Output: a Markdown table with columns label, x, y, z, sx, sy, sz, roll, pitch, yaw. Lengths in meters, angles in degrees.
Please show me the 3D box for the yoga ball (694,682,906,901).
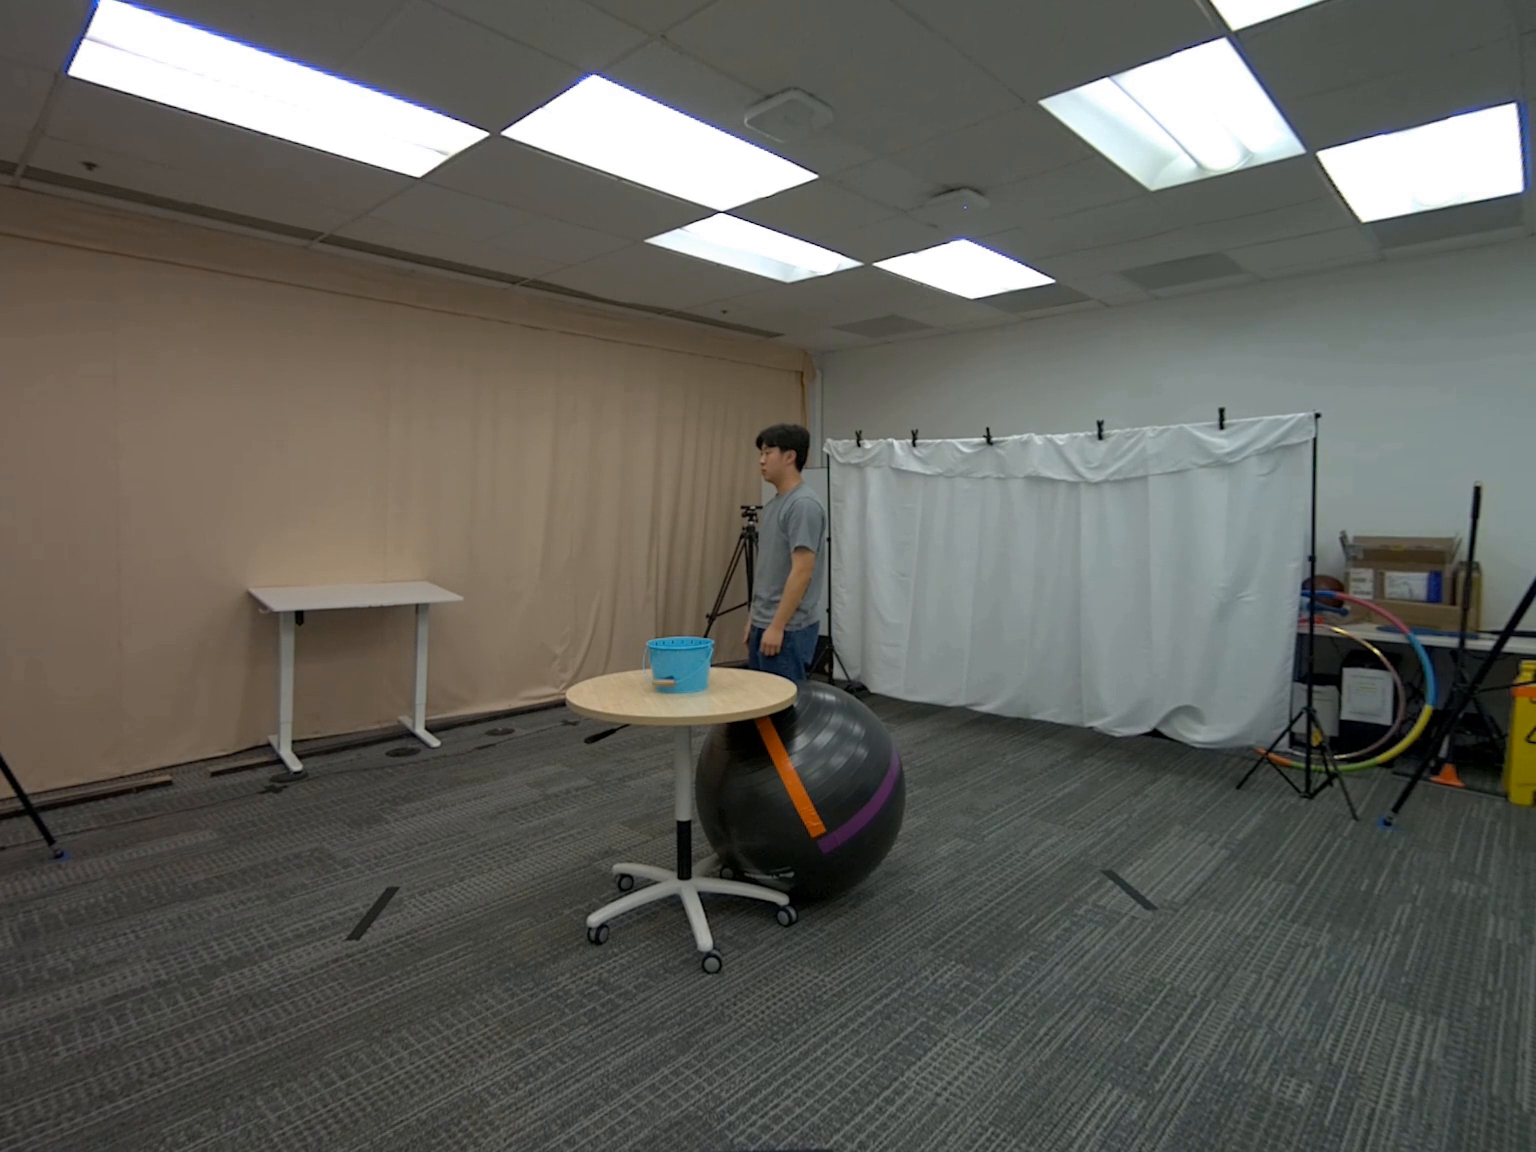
| label | x | y | z | sx | sy | sz | roll | pitch | yaw |
| --- | --- | --- | --- | --- | --- | --- | --- | --- | --- |
| yoga ball | 0.126 | 0.769 | 3.057 | 0.757 | 0.756 | 0.760 | 0 | 4 | -2 |
